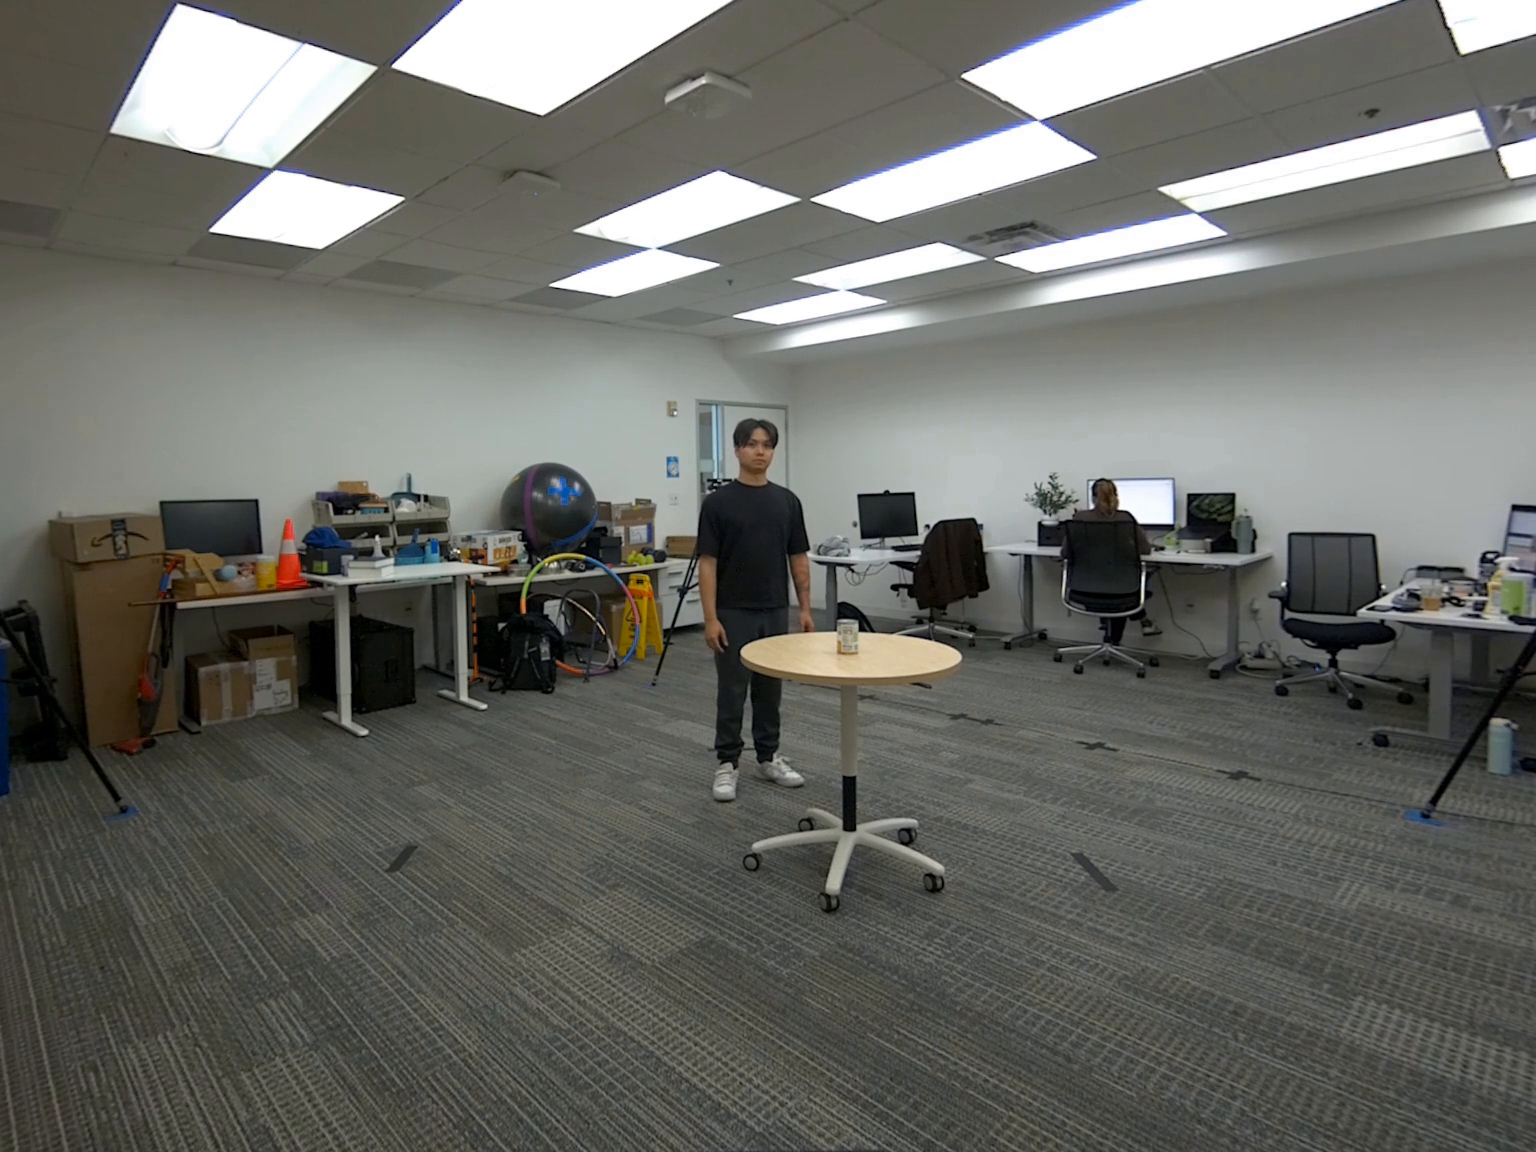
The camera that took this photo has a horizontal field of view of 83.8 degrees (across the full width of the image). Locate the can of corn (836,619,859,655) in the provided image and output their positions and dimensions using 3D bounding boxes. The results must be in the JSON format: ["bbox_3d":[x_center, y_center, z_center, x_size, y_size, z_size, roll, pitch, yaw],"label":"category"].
[{"bbox_3d":[0.282,0.218,2.992,0.074,0.110,0.075,1,6,-2],"label":"can of corn"}]
